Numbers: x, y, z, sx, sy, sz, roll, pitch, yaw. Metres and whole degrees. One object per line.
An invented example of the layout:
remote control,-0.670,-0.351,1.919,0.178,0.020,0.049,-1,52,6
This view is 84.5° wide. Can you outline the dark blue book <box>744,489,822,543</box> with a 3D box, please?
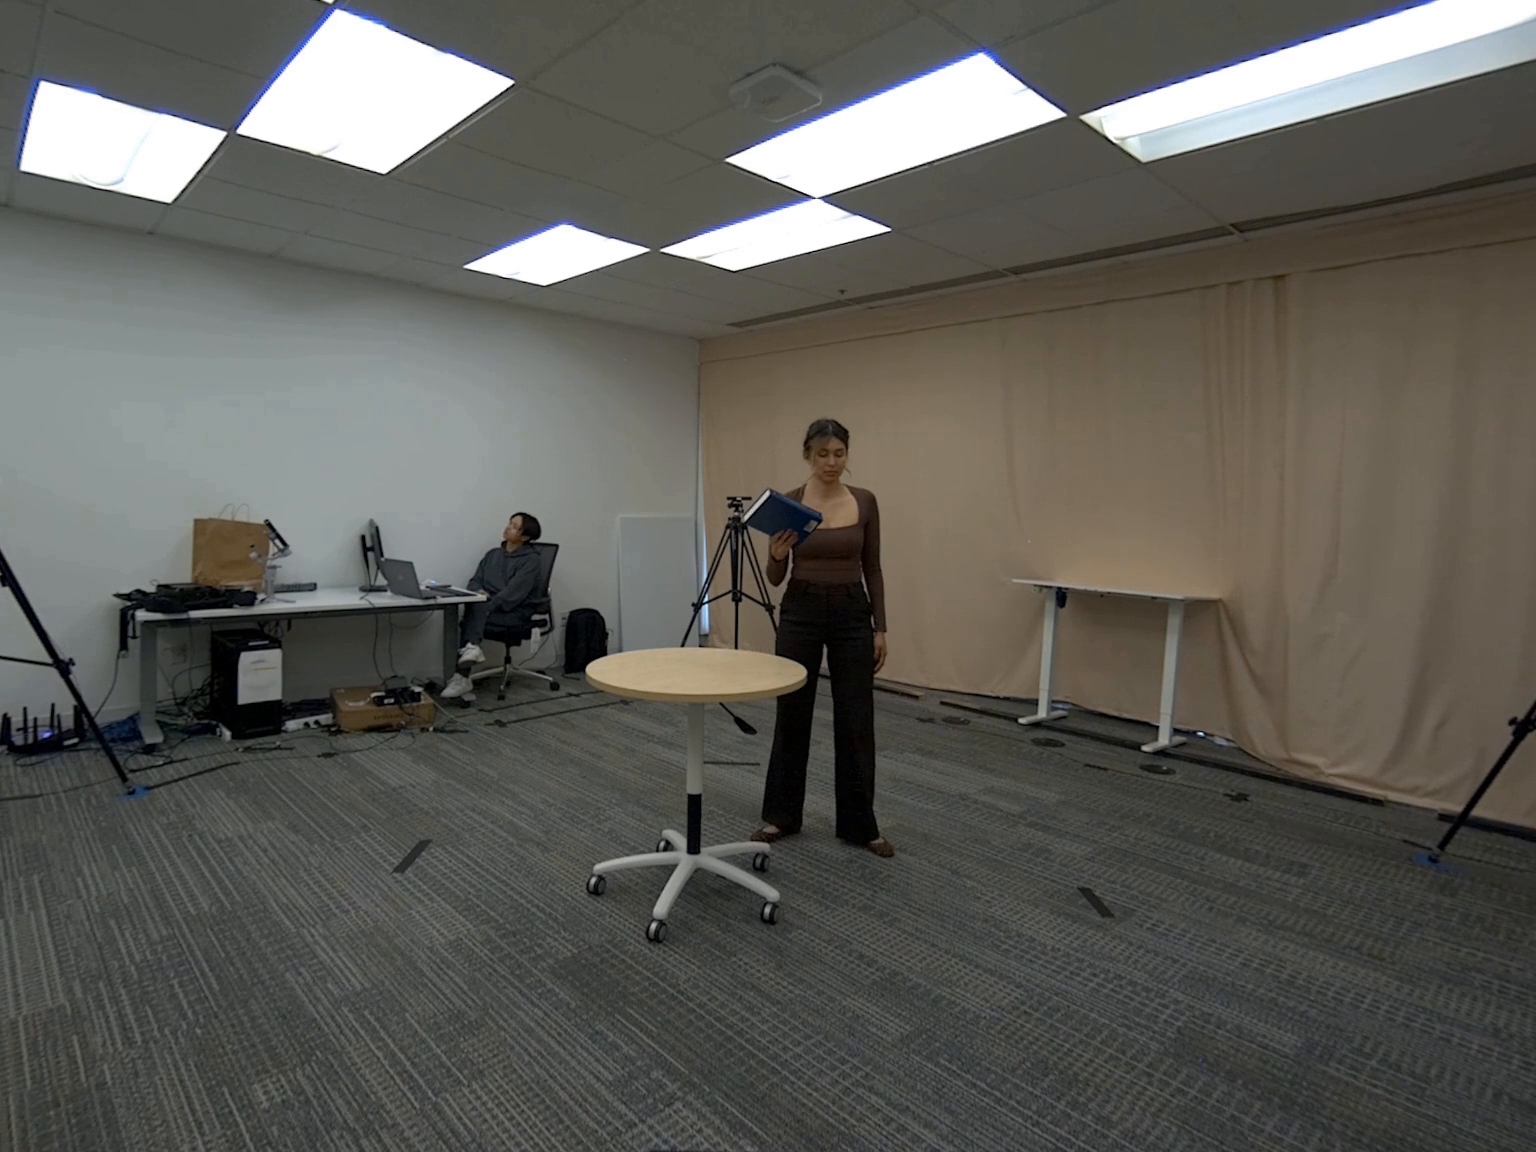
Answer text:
dark blue book,0.044,-0.206,3.044,0.239,0.046,0.163,24,-53,-28
